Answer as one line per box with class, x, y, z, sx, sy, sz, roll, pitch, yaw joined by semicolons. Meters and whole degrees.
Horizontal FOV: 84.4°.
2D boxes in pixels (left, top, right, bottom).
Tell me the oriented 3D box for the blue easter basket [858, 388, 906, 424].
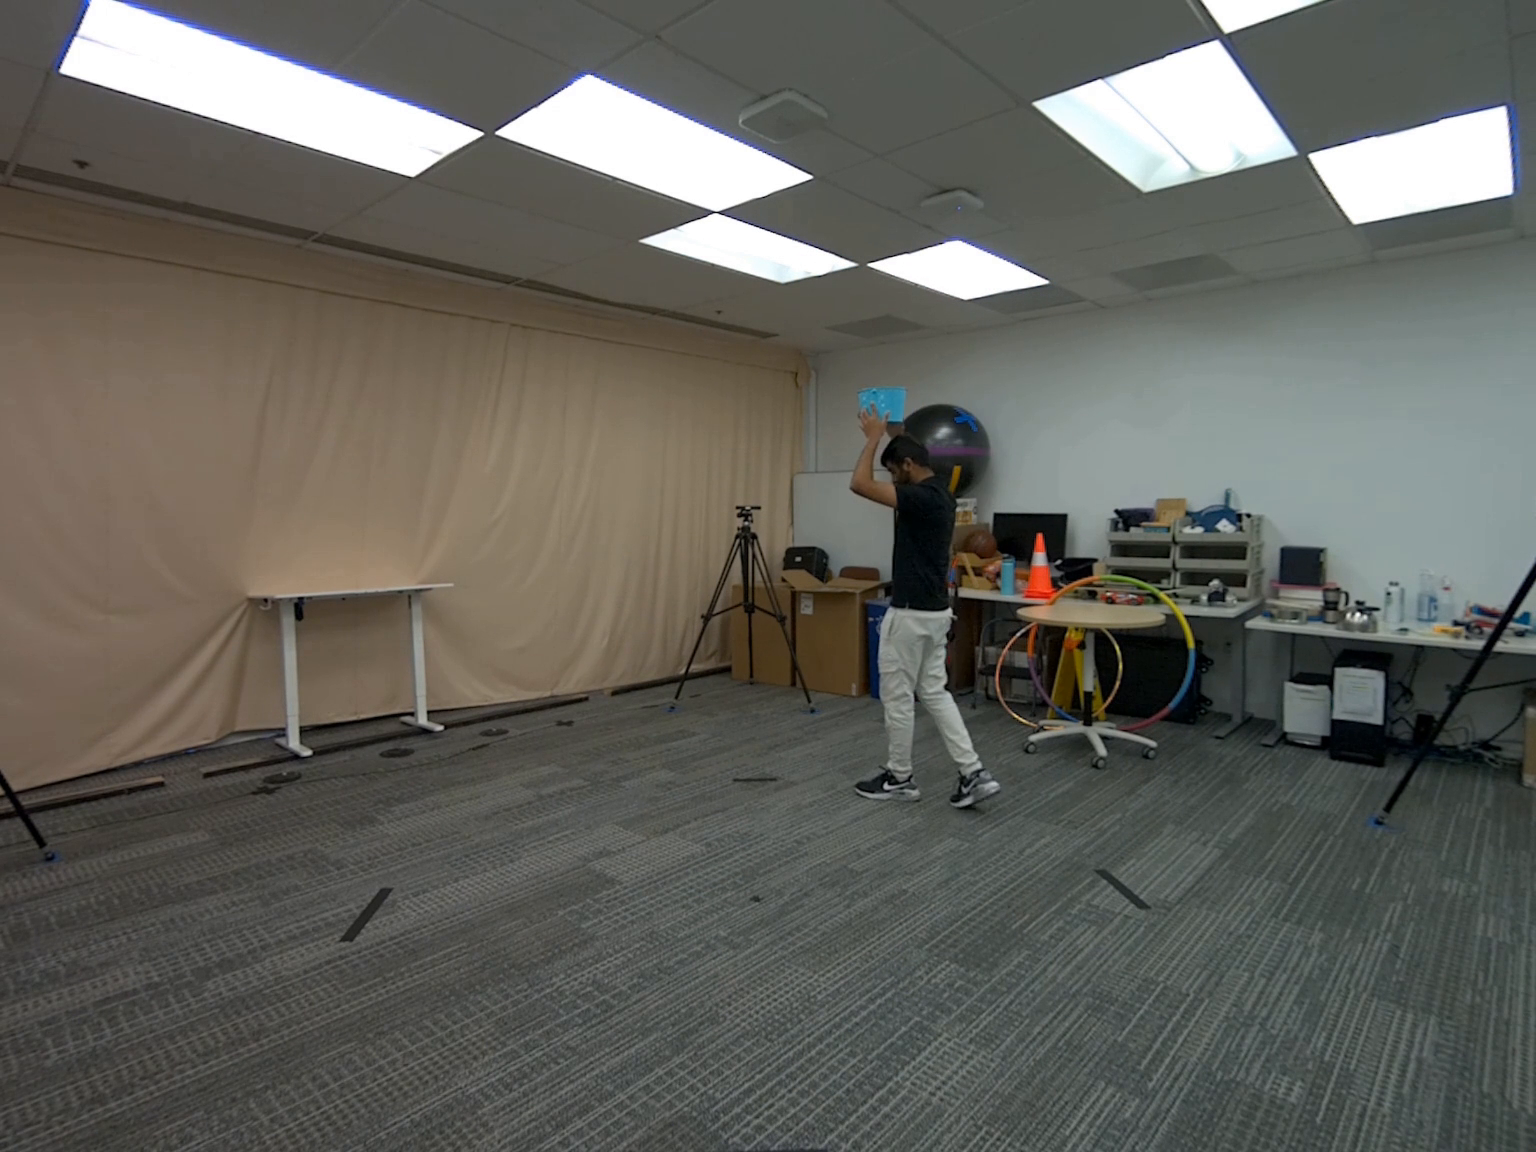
blue easter basket;0.544;-0.796;3.966;0.243;0.156;0.244;-1;2;-2
